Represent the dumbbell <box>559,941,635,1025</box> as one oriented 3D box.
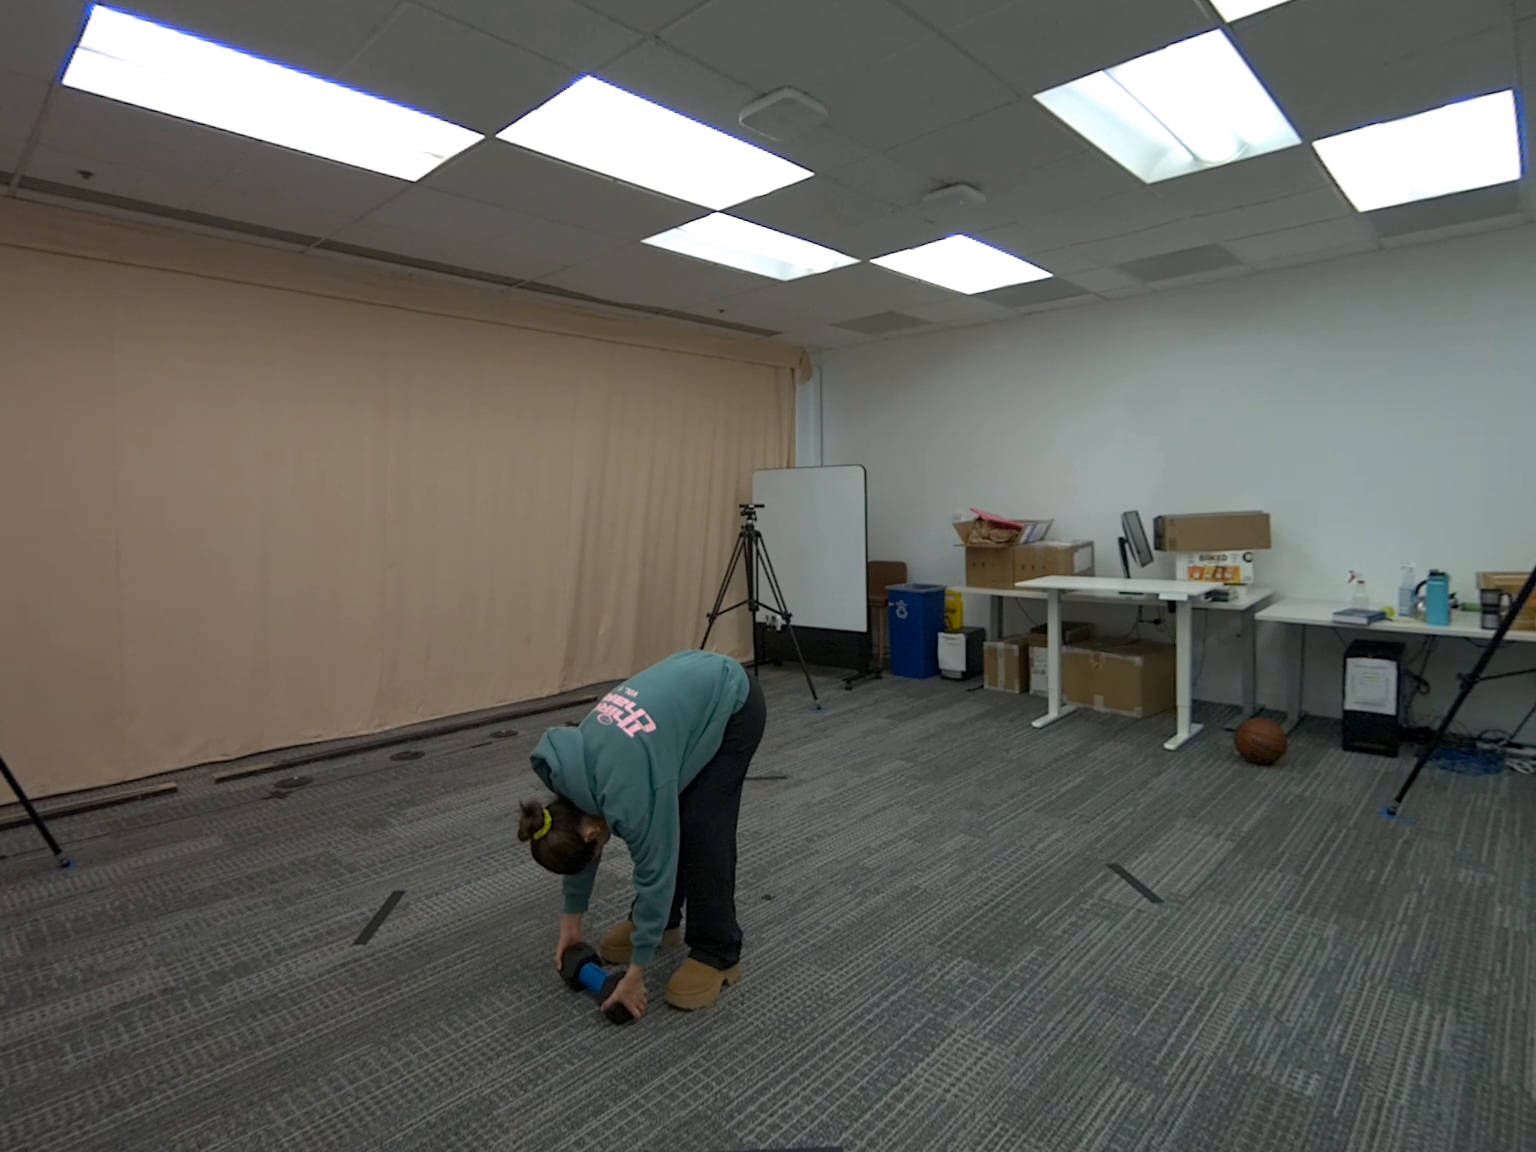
[{"bbox_3d":[-0.472,1.148,2.380,0.303,0.120,0.107,3,37,48],"label":"dumbbell"}]
